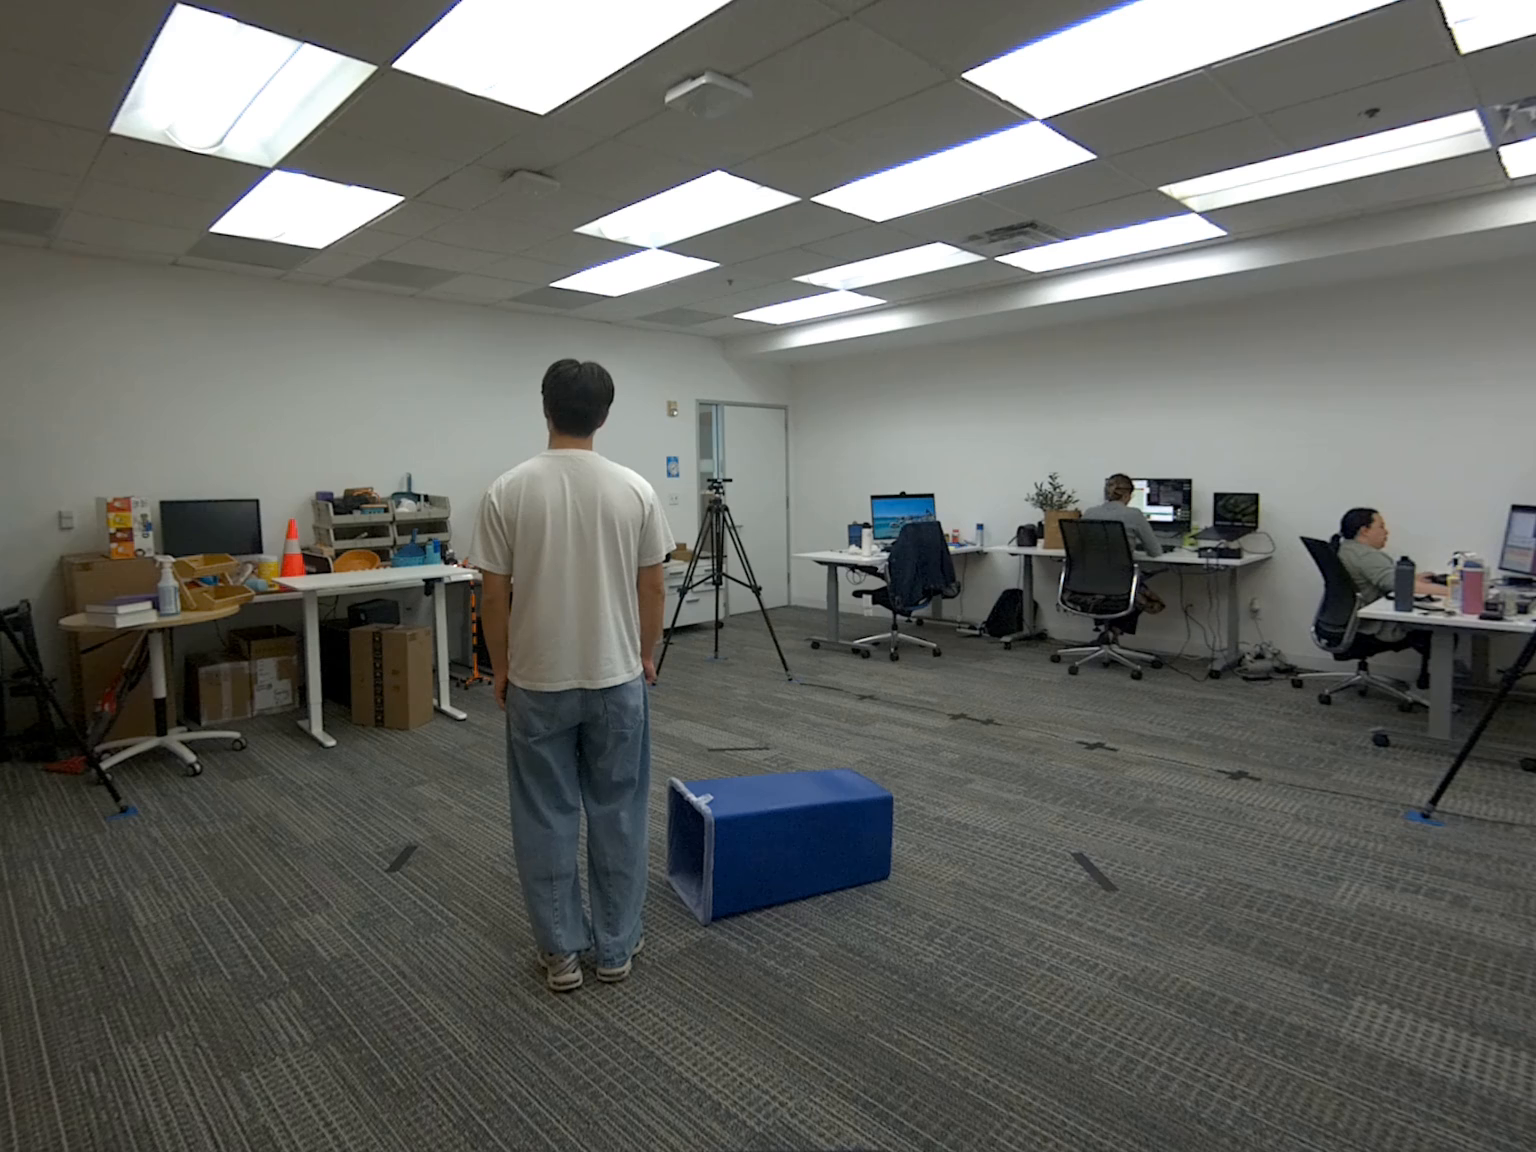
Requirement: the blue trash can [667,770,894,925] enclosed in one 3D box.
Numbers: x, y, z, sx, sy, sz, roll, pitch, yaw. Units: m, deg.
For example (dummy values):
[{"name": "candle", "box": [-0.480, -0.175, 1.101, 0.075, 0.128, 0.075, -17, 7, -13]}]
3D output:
[{"name": "blue trash can", "box": [0.047, 0.893, 2.960, 0.698, 0.377, 0.383, -1, 4, -24]}]
